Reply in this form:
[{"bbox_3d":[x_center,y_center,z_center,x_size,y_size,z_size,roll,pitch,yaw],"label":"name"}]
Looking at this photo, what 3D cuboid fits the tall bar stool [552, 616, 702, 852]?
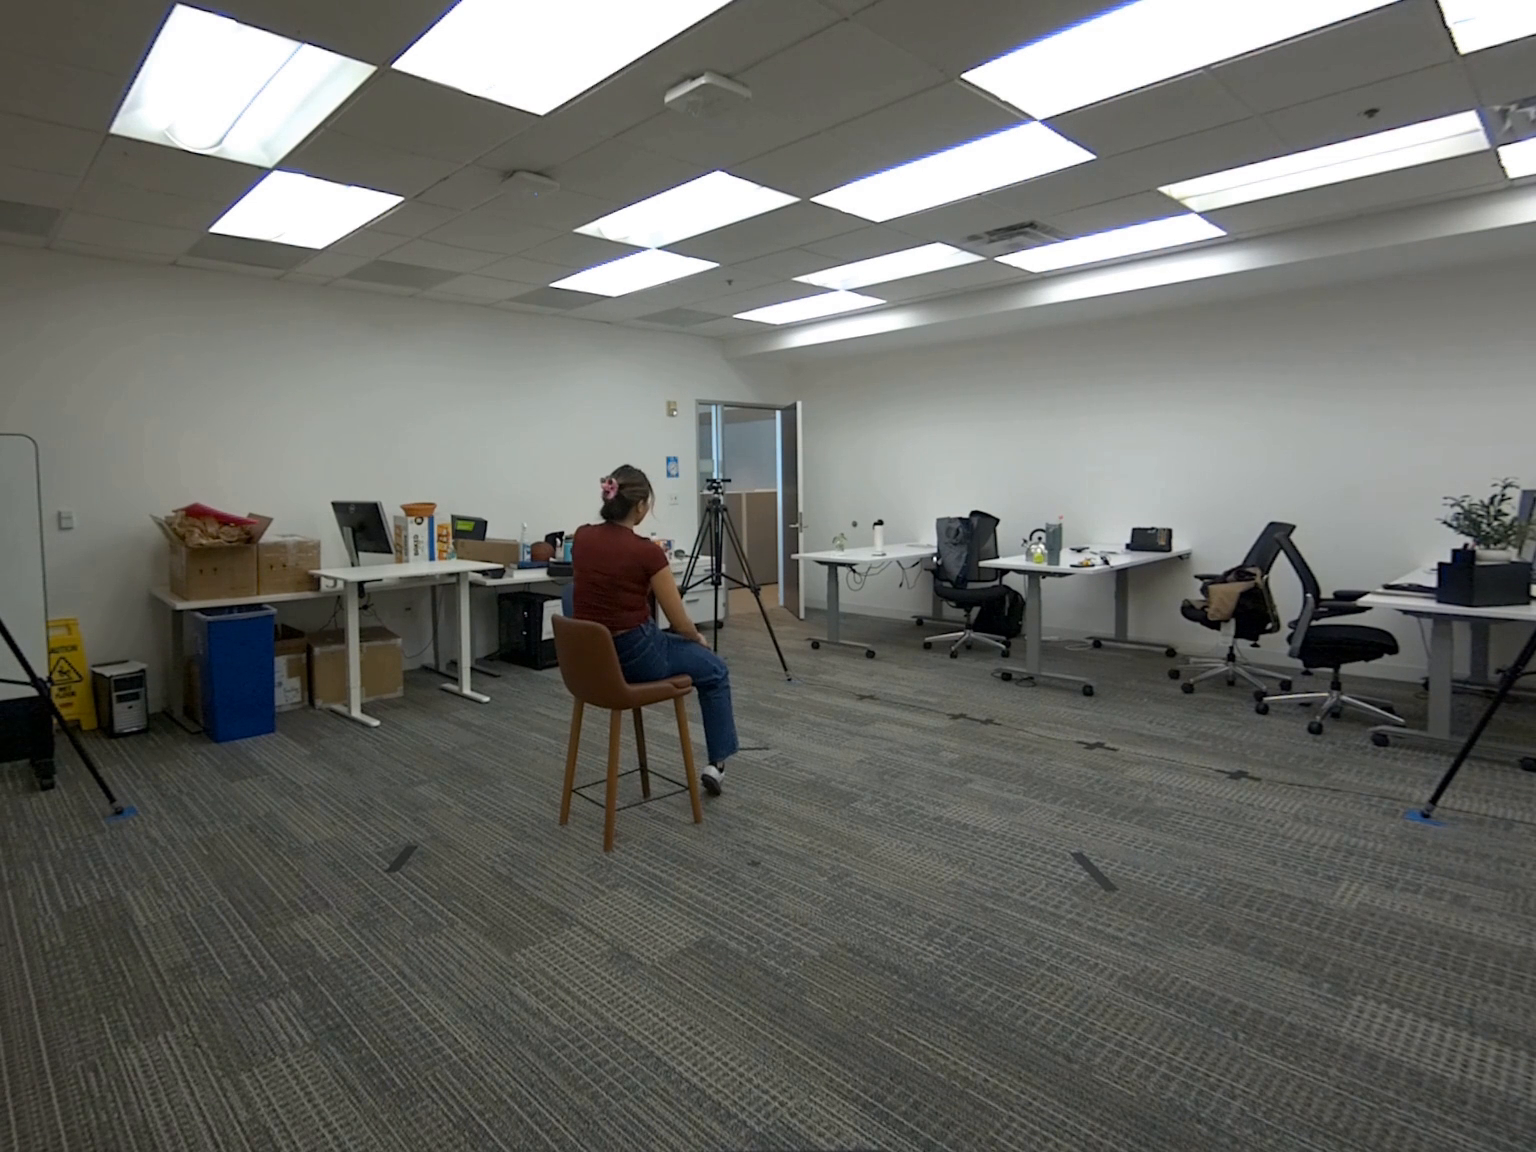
[{"bbox_3d":[-0.590,0.580,3.472,0.456,0.886,0.470,-7,6,-40],"label":"tall bar stool"}]
